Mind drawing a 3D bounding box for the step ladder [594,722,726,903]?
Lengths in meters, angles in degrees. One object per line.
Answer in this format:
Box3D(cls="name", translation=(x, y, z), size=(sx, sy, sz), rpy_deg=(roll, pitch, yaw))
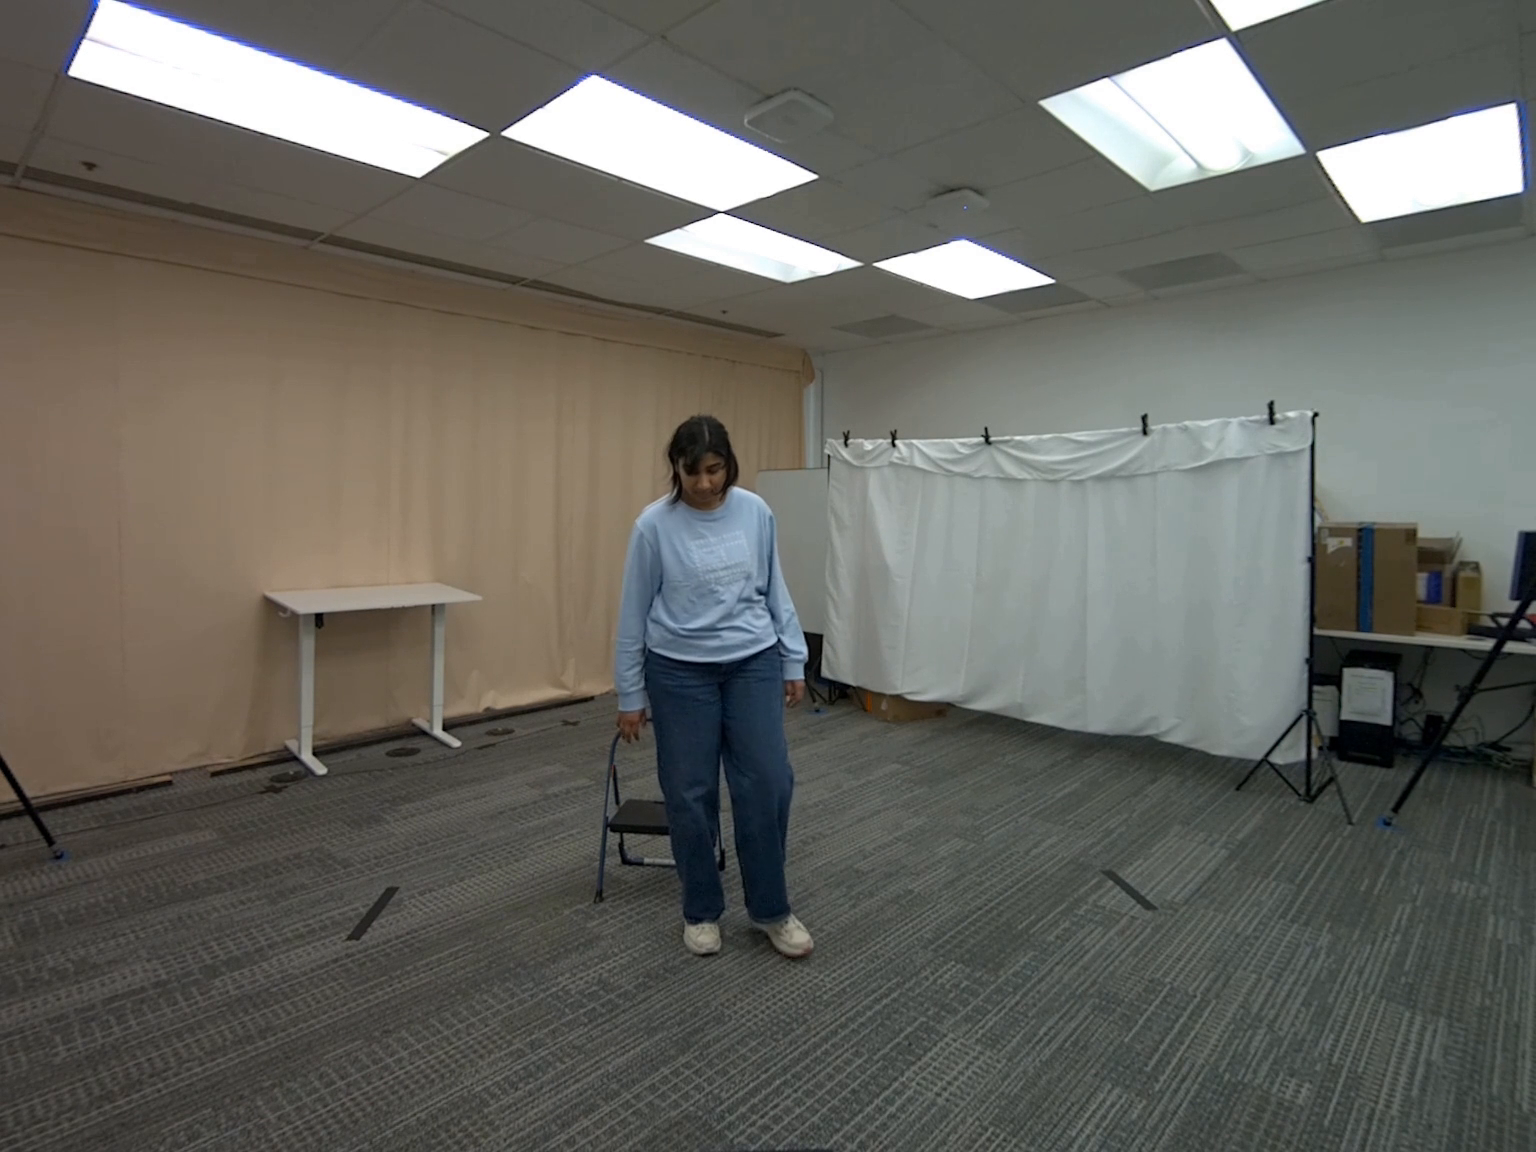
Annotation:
Box3D(cls="step ladder", translation=(-0.391, 0.835, 3.087), size=(0.435, 0.604, 0.346), rpy_deg=(0, 4, 9))
